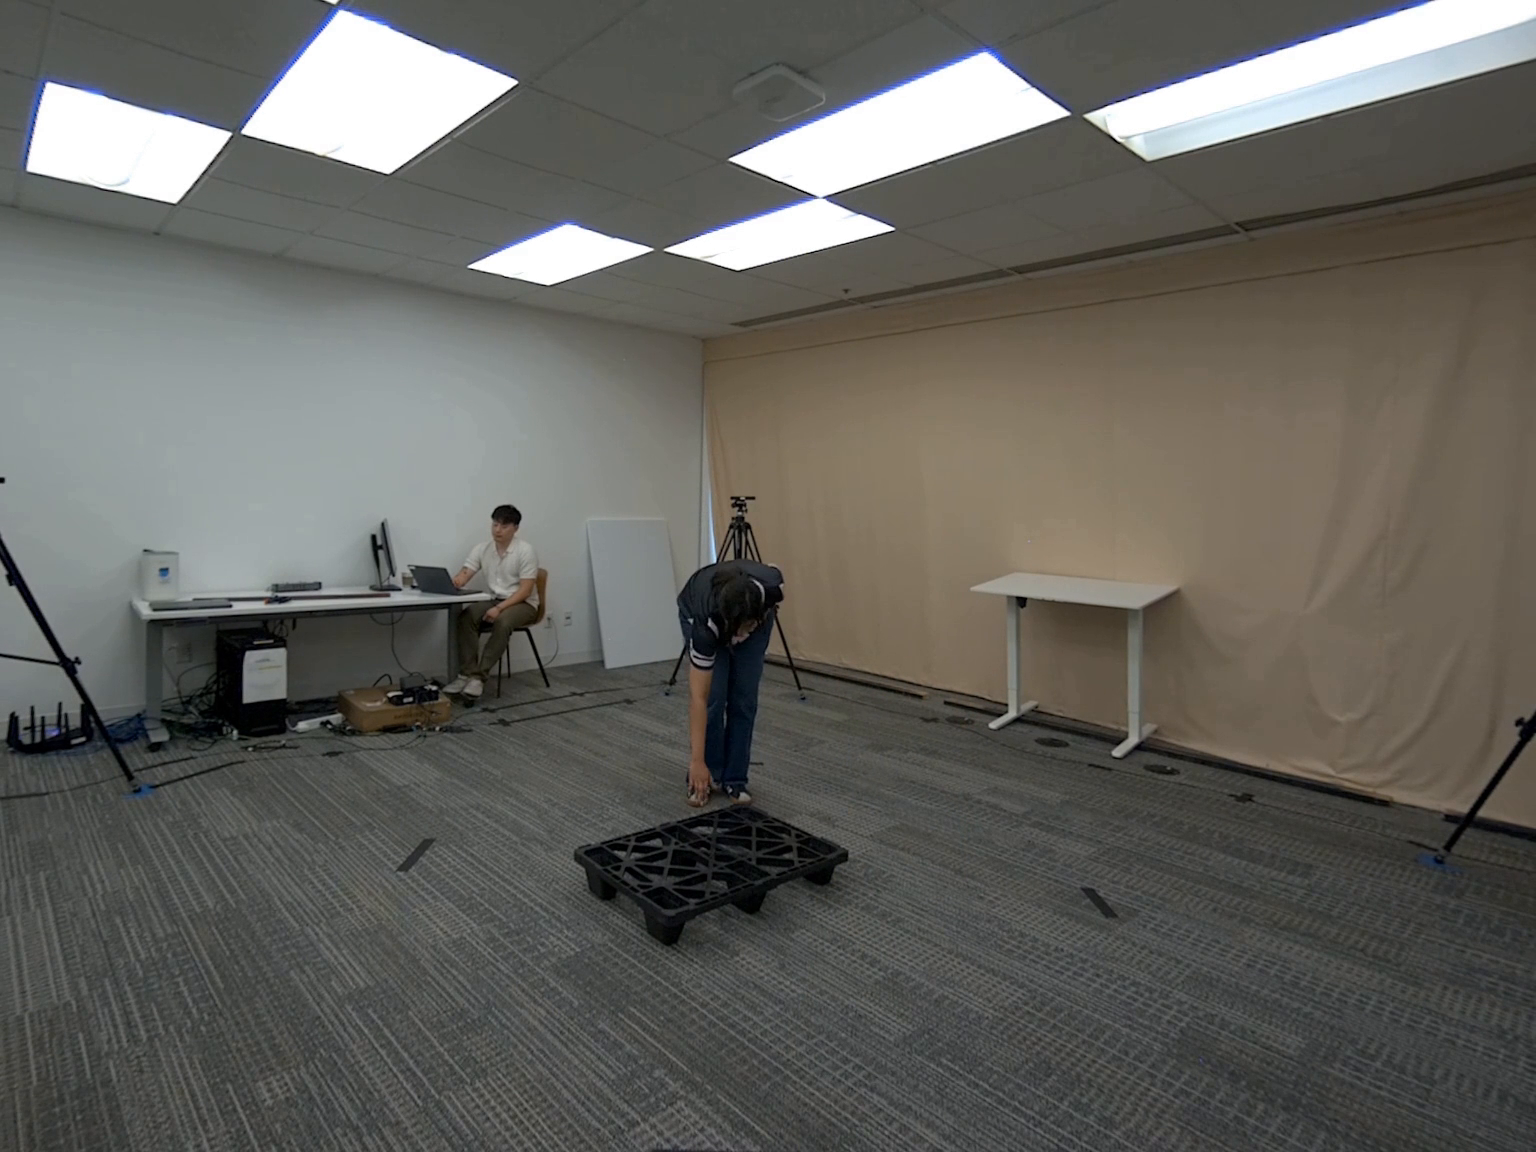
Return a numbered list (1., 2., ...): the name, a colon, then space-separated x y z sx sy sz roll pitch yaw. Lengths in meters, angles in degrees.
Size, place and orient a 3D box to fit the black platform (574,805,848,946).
1. black platform: -0.212 1.047 3.006 0.787 0.143 0.620 -3 6 -40
